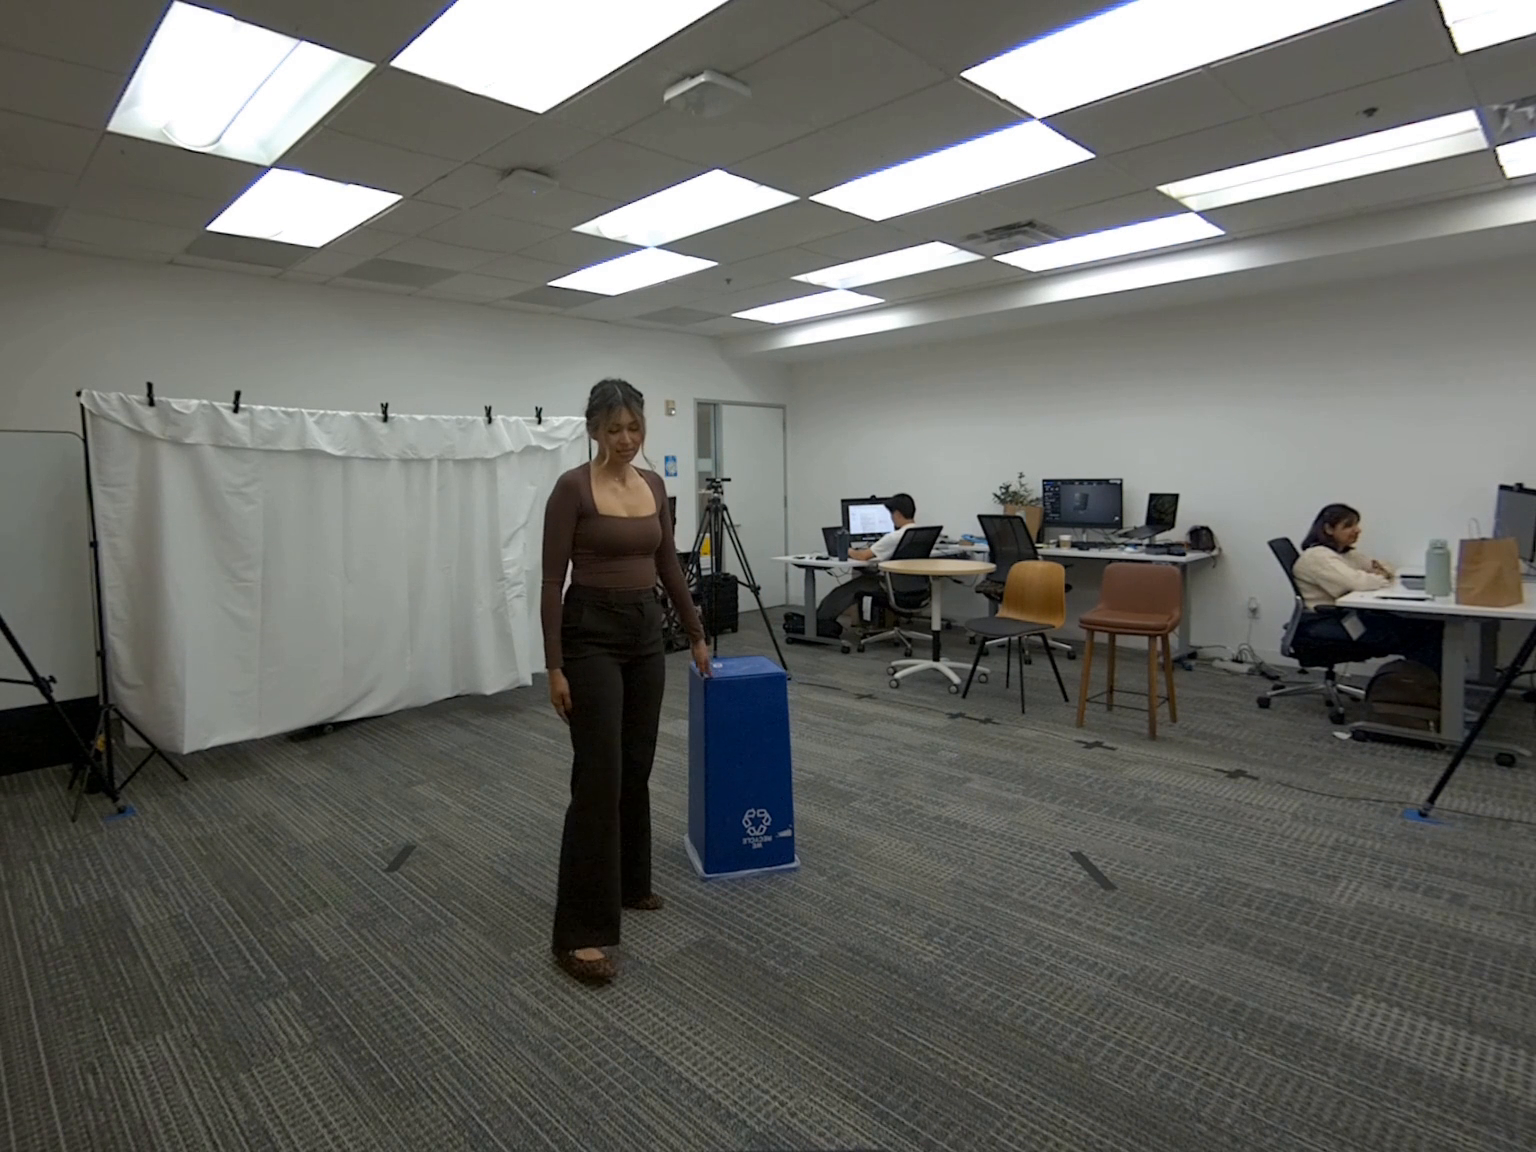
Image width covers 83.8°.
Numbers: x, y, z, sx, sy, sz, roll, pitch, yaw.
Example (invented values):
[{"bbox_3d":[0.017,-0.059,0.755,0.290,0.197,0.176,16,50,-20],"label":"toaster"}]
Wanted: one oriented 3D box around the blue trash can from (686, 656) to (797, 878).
[{"bbox_3d":[-0.113,0.682,3.157,0.369,0.711,0.385,-3,5,-15],"label":"blue trash can"}]
